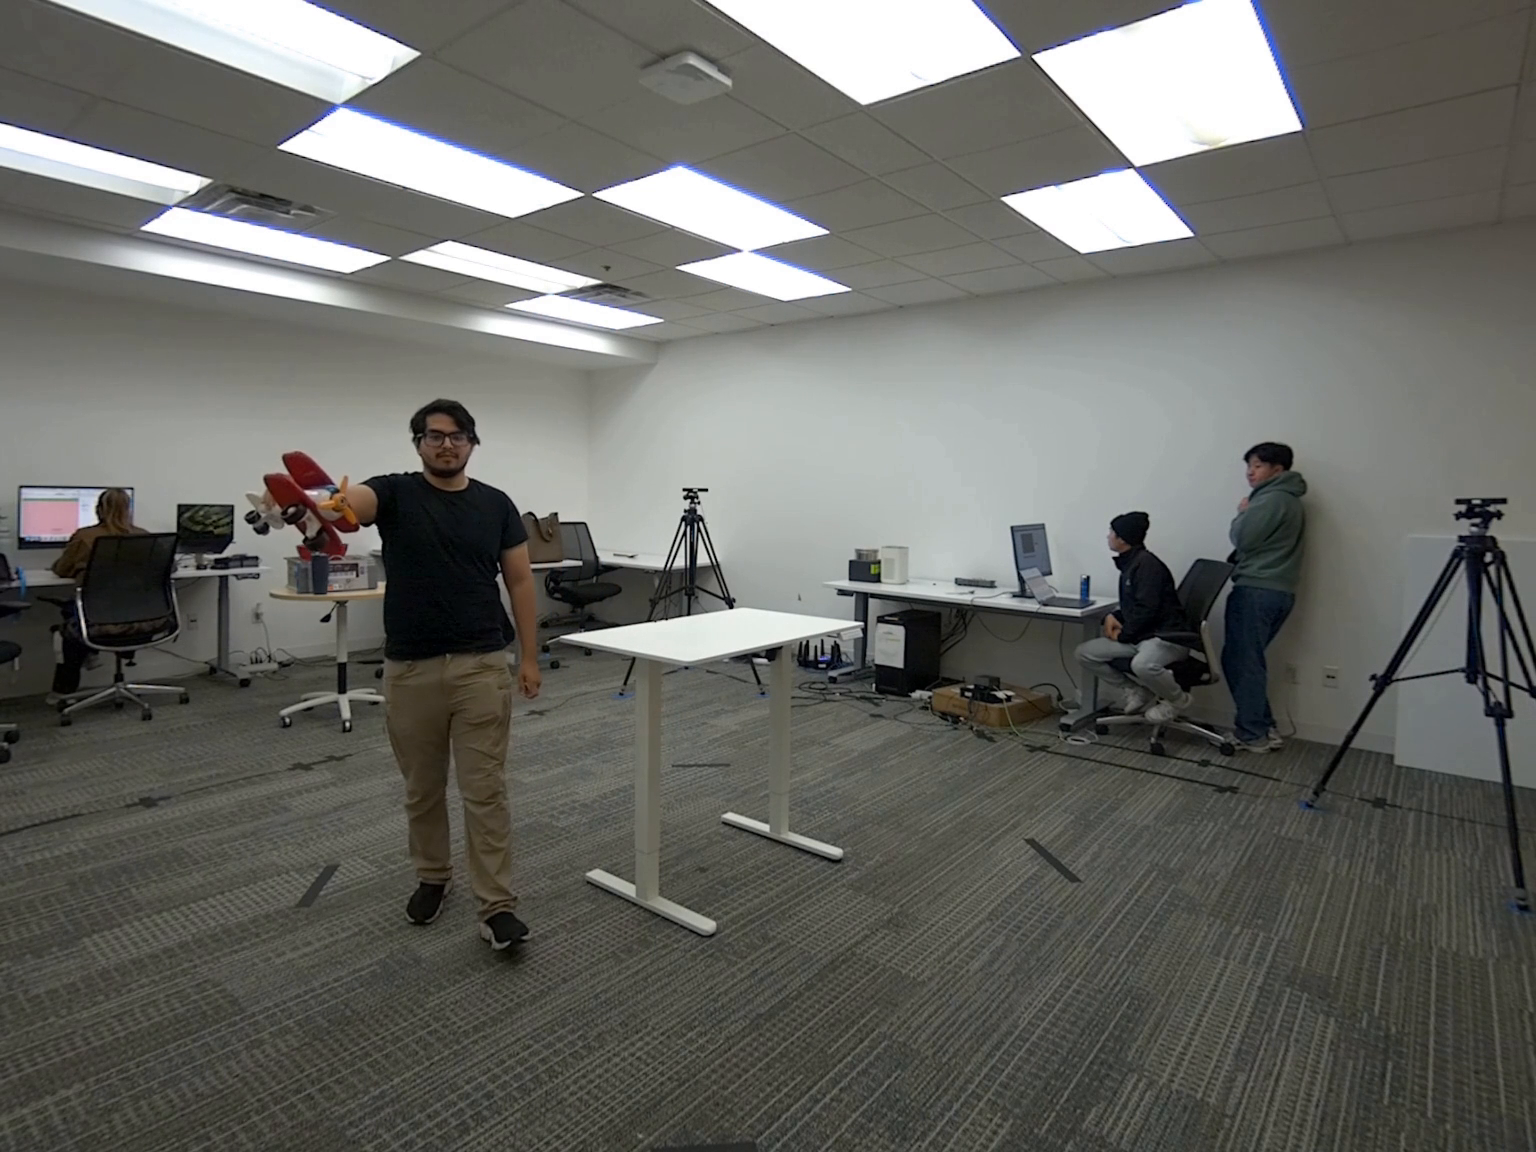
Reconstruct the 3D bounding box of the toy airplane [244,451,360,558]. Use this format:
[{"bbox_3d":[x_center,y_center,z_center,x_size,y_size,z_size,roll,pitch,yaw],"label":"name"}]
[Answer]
[{"bbox_3d":[-1.134,-0.175,2.009,0.262,0.157,0.247,26,-37,7],"label":"toy airplane"}]
